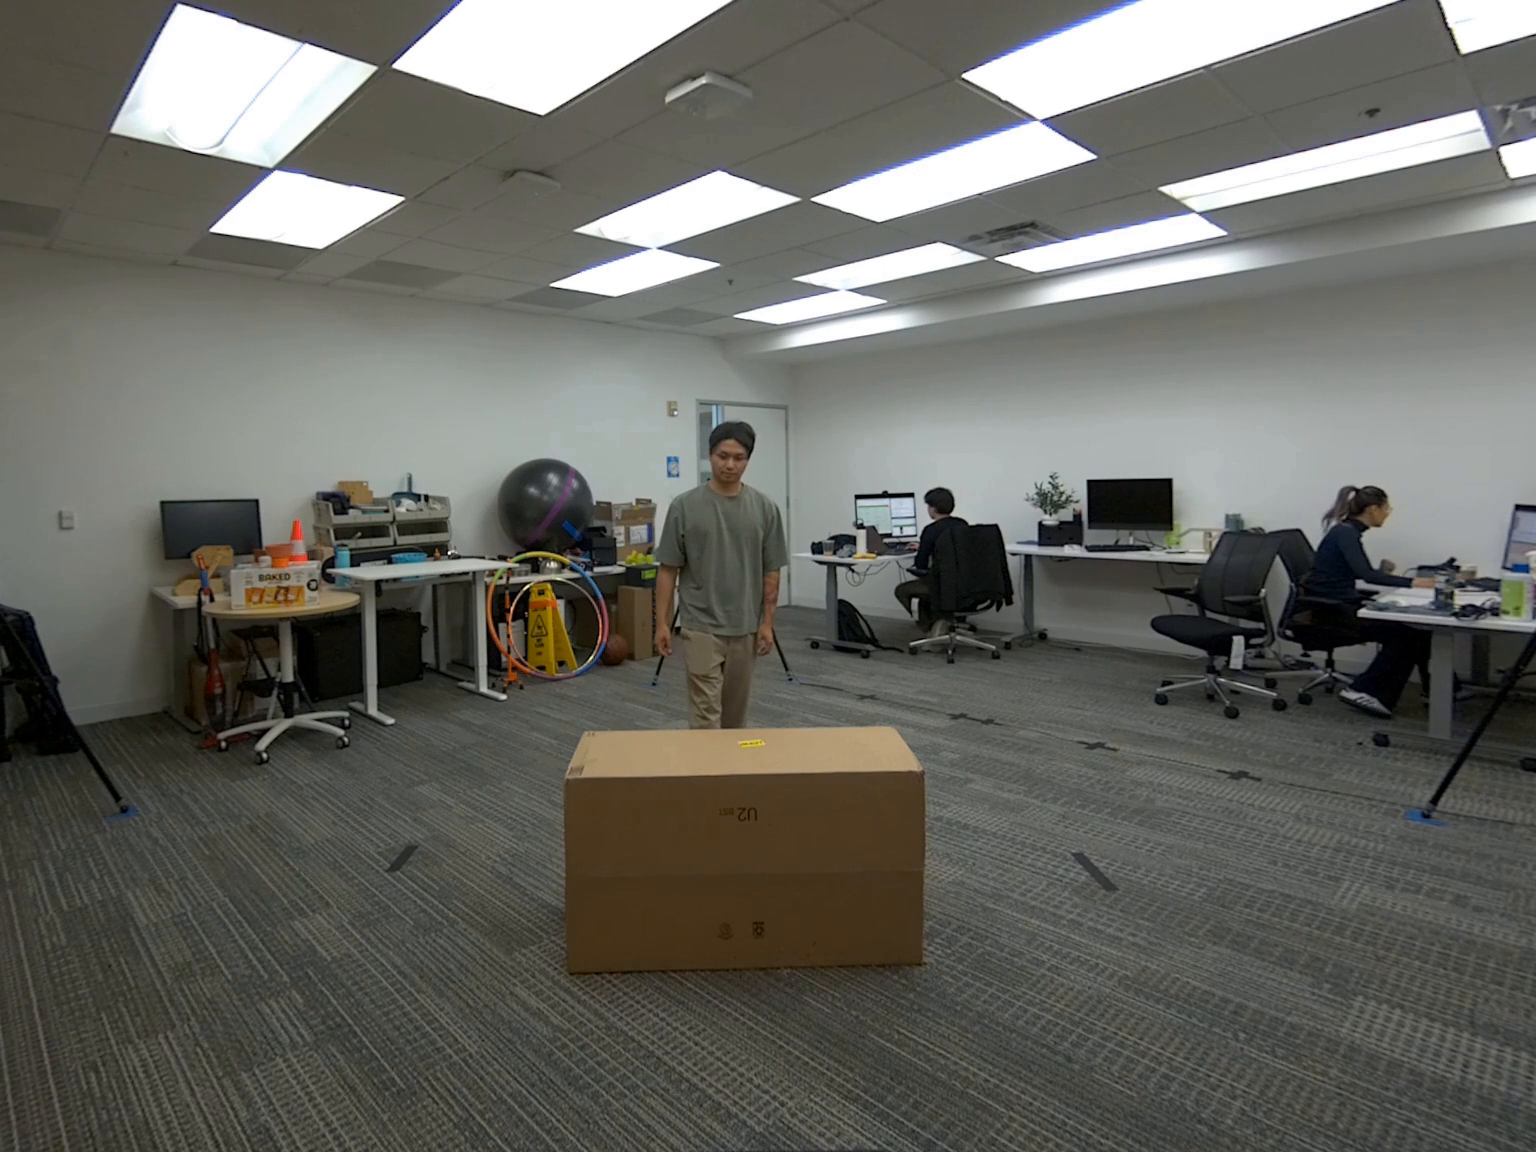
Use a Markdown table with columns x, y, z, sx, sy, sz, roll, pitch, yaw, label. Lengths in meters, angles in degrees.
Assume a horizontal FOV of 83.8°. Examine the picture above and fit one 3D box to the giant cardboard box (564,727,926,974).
| x | y | z | sx | sy | sz | roll | pitch | yaw | label |
| --- | --- | --- | --- | --- | --- | --- | --- | --- | --- |
| -0.077 | 0.810 | 2.625 | 1.024 | 0.575 | 0.429 | -1 | 5 | -2 | giant cardboard box |
